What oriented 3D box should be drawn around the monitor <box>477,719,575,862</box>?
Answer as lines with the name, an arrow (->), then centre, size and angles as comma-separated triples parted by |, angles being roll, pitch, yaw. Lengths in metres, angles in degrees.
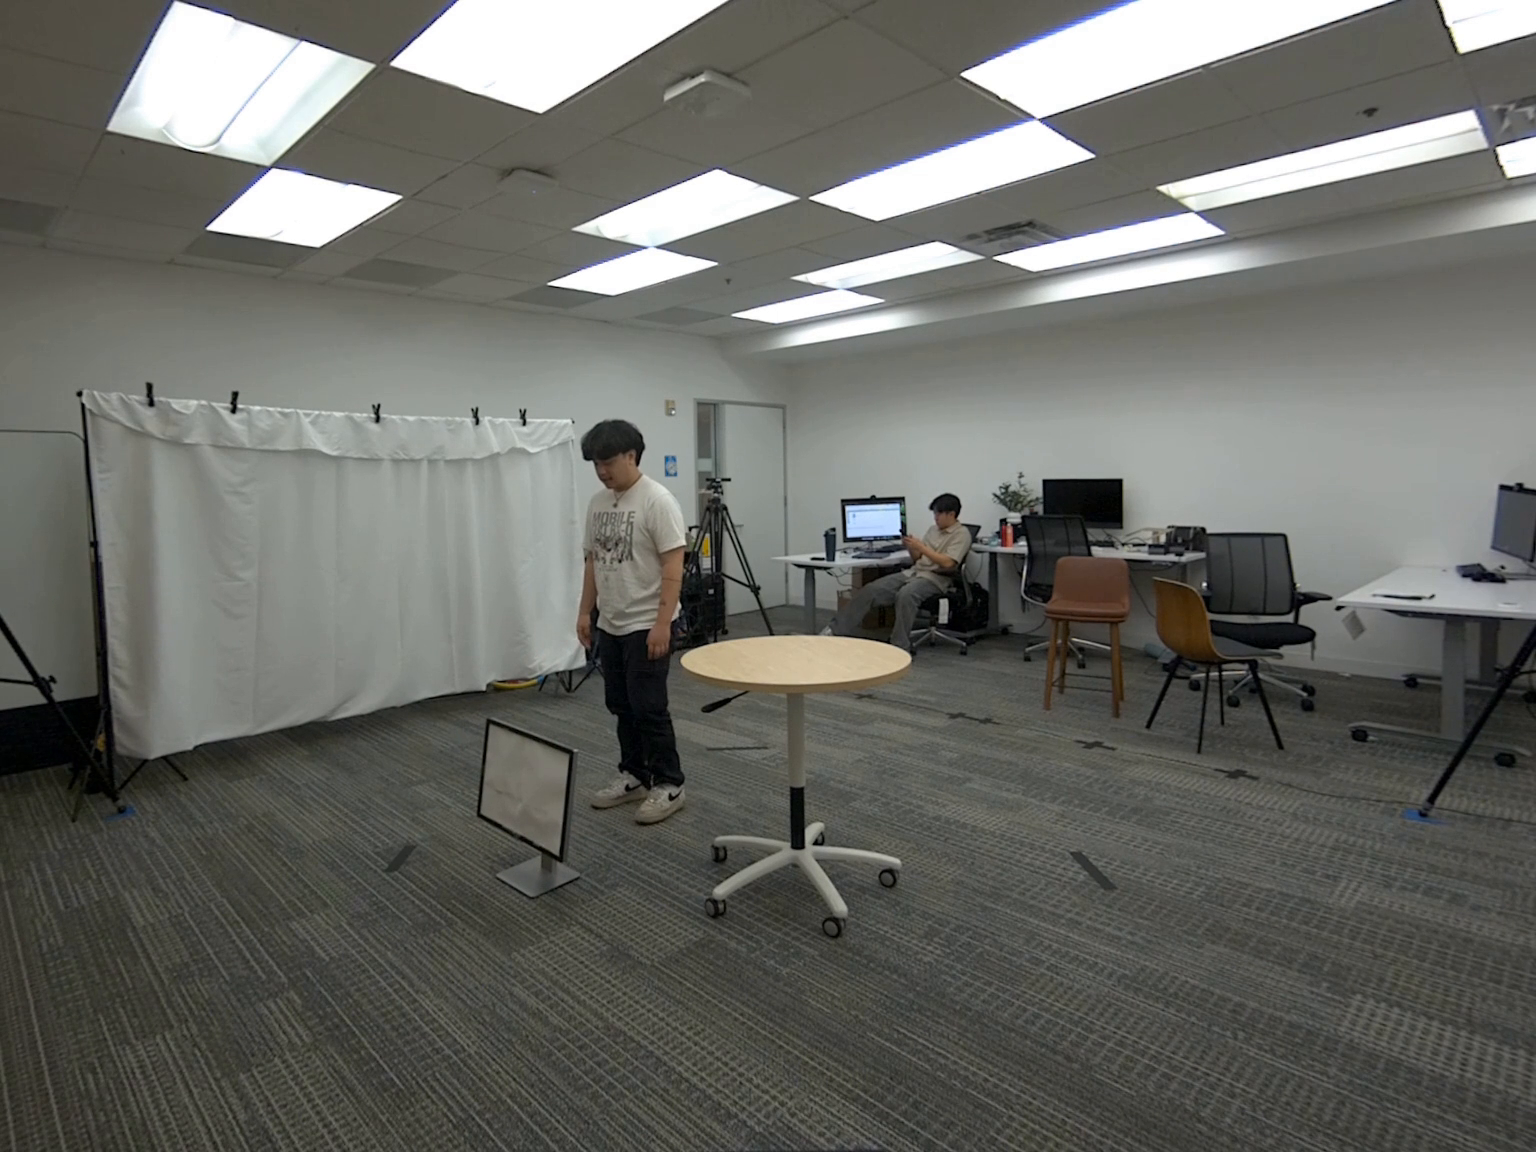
monitor -> -0.804, 0.814, 3.015 | 0.204, 0.553, 0.583 | -1, 4, -44
